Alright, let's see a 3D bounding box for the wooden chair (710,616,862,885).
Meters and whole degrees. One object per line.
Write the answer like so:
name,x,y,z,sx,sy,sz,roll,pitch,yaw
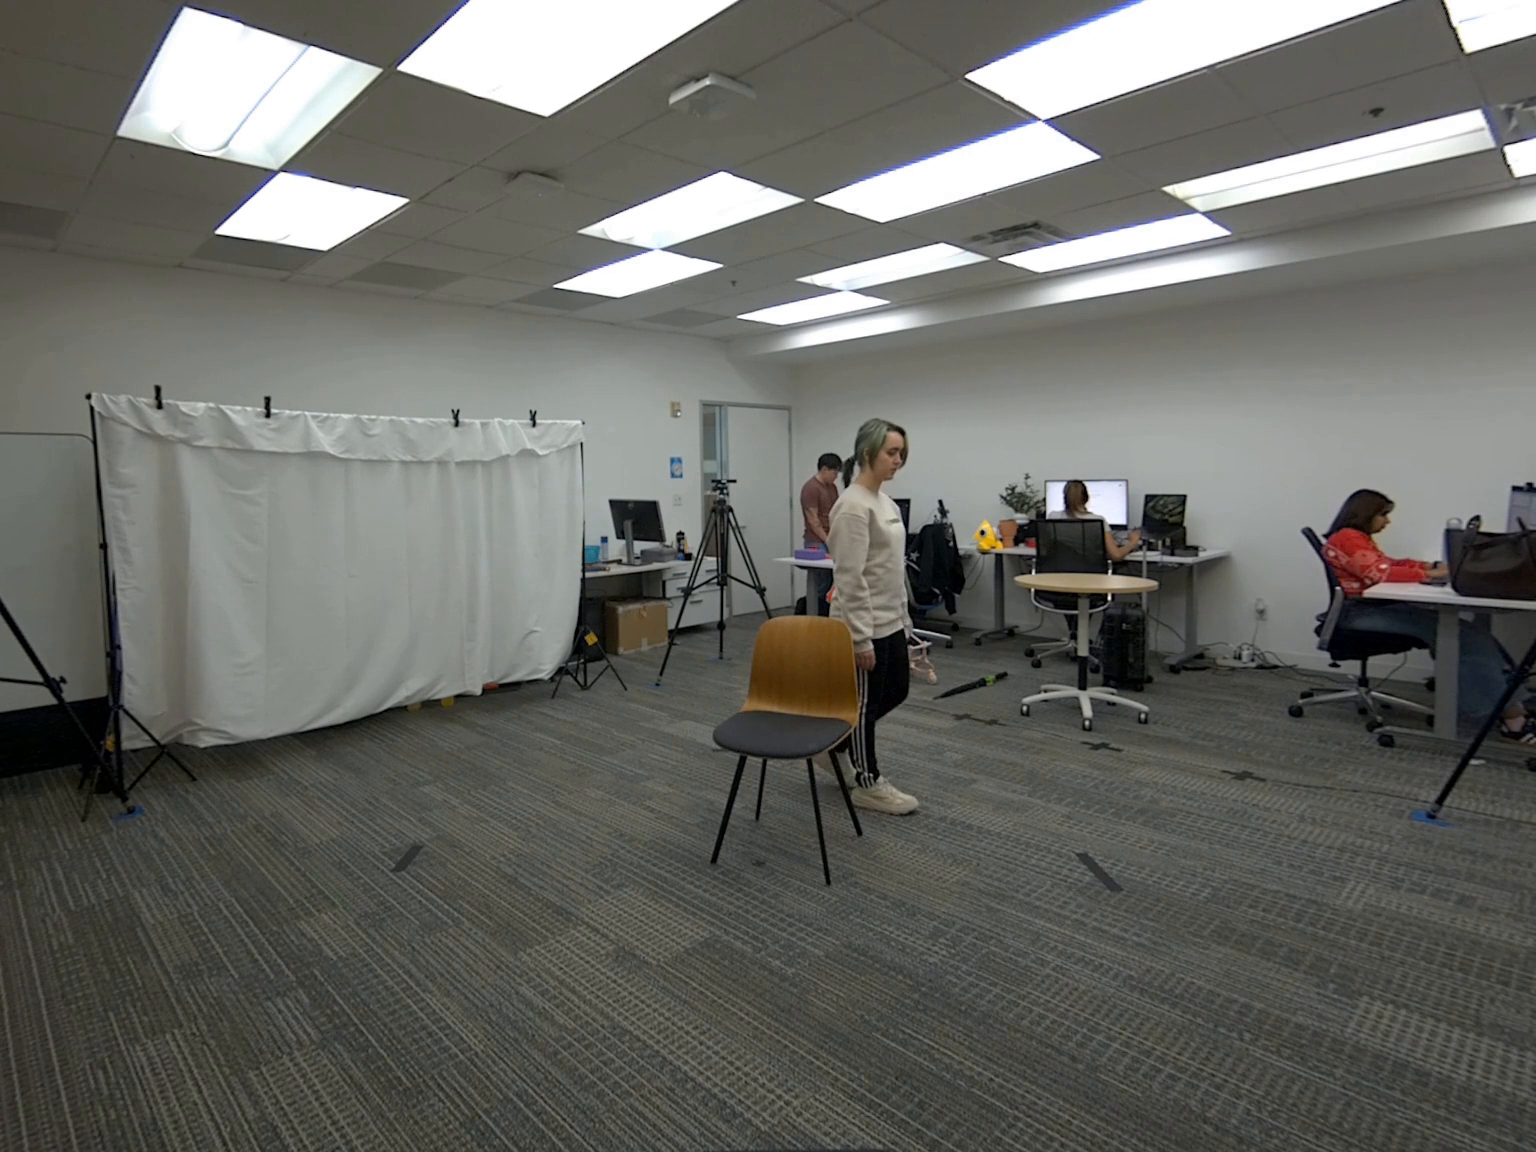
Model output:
wooden chair,0.072,0.608,3.181,0.489,0.877,0.512,1,0,23
